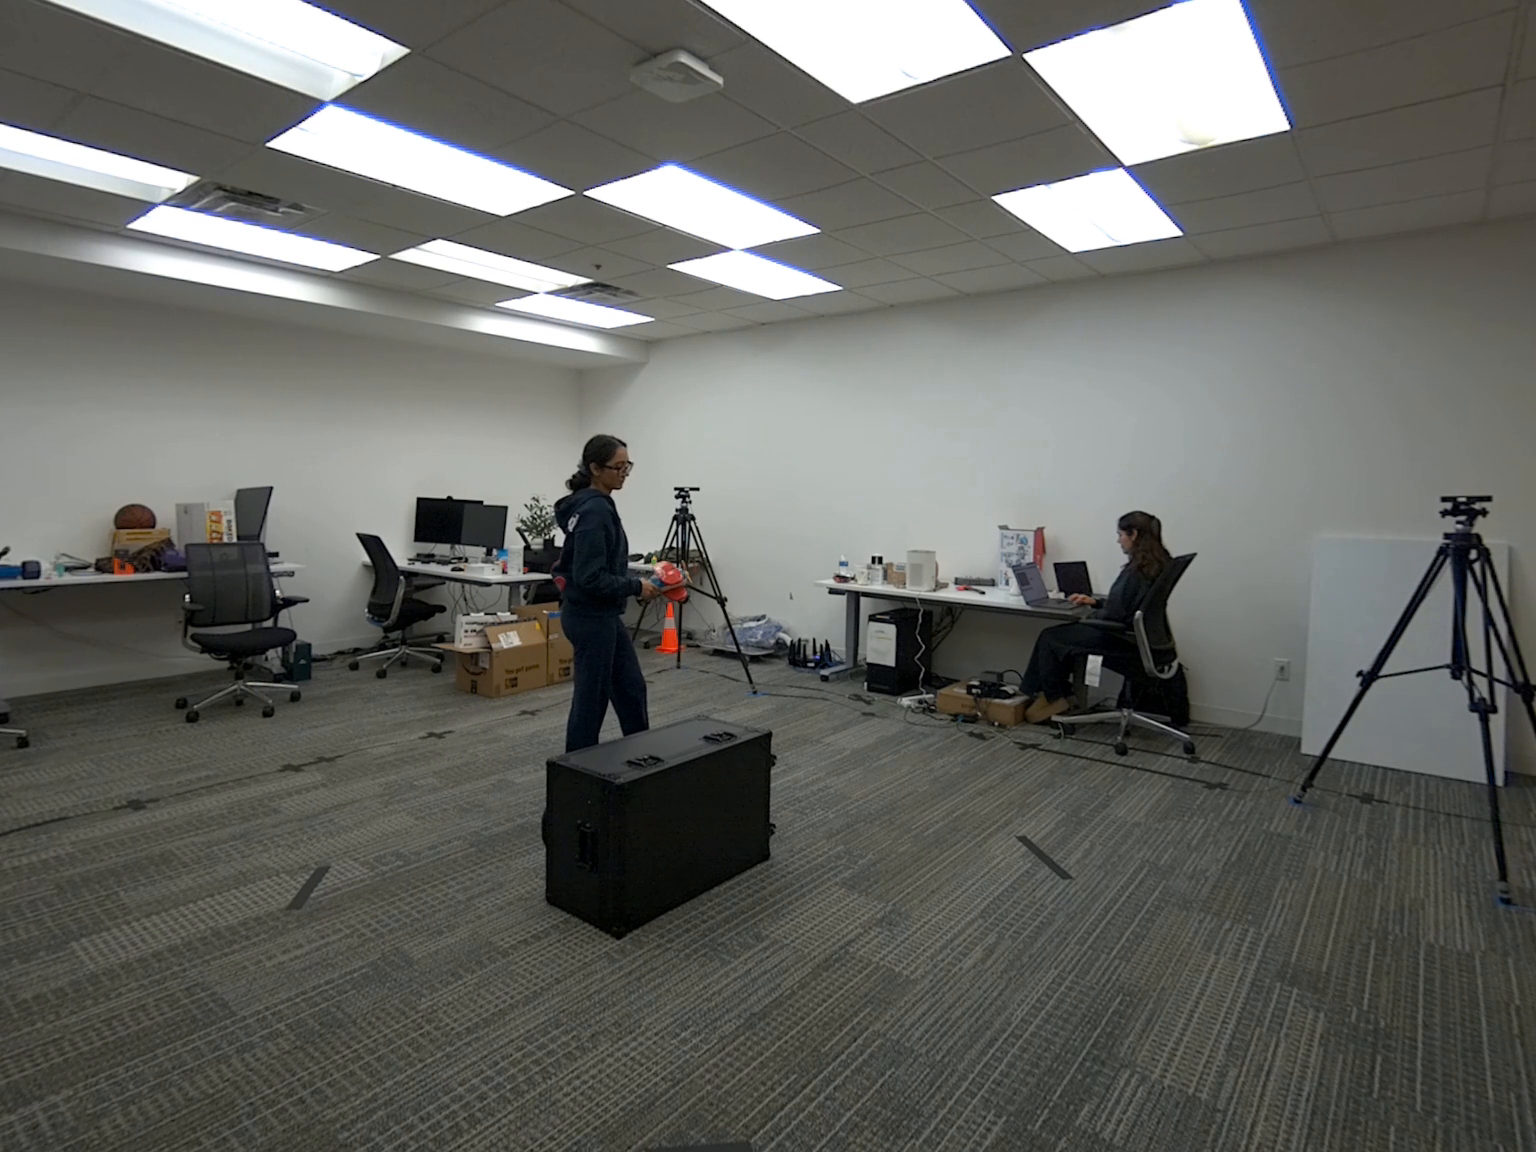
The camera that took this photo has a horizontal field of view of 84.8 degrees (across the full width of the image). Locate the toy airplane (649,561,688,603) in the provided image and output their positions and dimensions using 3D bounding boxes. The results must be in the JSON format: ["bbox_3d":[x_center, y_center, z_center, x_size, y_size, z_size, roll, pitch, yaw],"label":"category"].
[{"bbox_3d":[-0.478,0.049,3.735,0.261,0.153,0.254,19,28,40],"label":"toy airplane"}]
